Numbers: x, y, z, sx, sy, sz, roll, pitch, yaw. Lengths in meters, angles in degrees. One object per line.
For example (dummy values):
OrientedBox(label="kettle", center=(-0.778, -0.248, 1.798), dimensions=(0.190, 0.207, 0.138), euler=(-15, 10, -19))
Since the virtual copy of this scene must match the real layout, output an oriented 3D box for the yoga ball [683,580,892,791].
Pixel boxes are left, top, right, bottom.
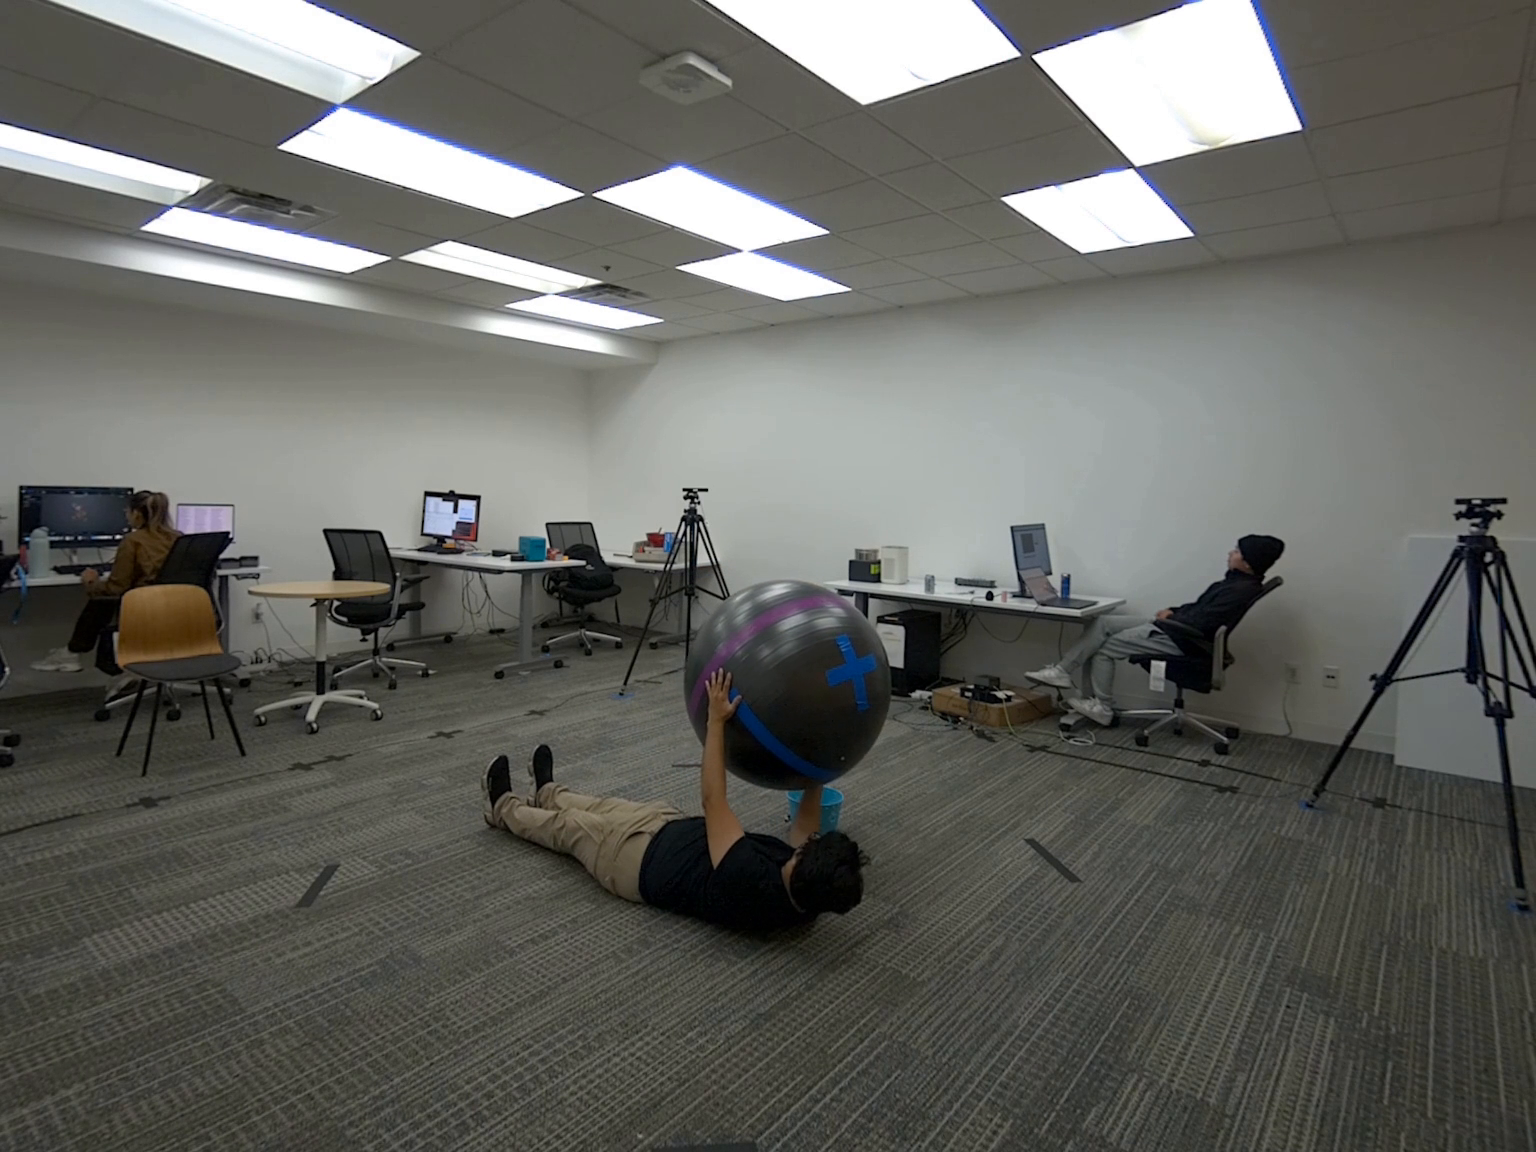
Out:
OrientedBox(label="yoga ball", center=(0.061, 0.394, 3.134), dimensions=(0.757, 0.756, 0.761), euler=(0, 4, -2))
